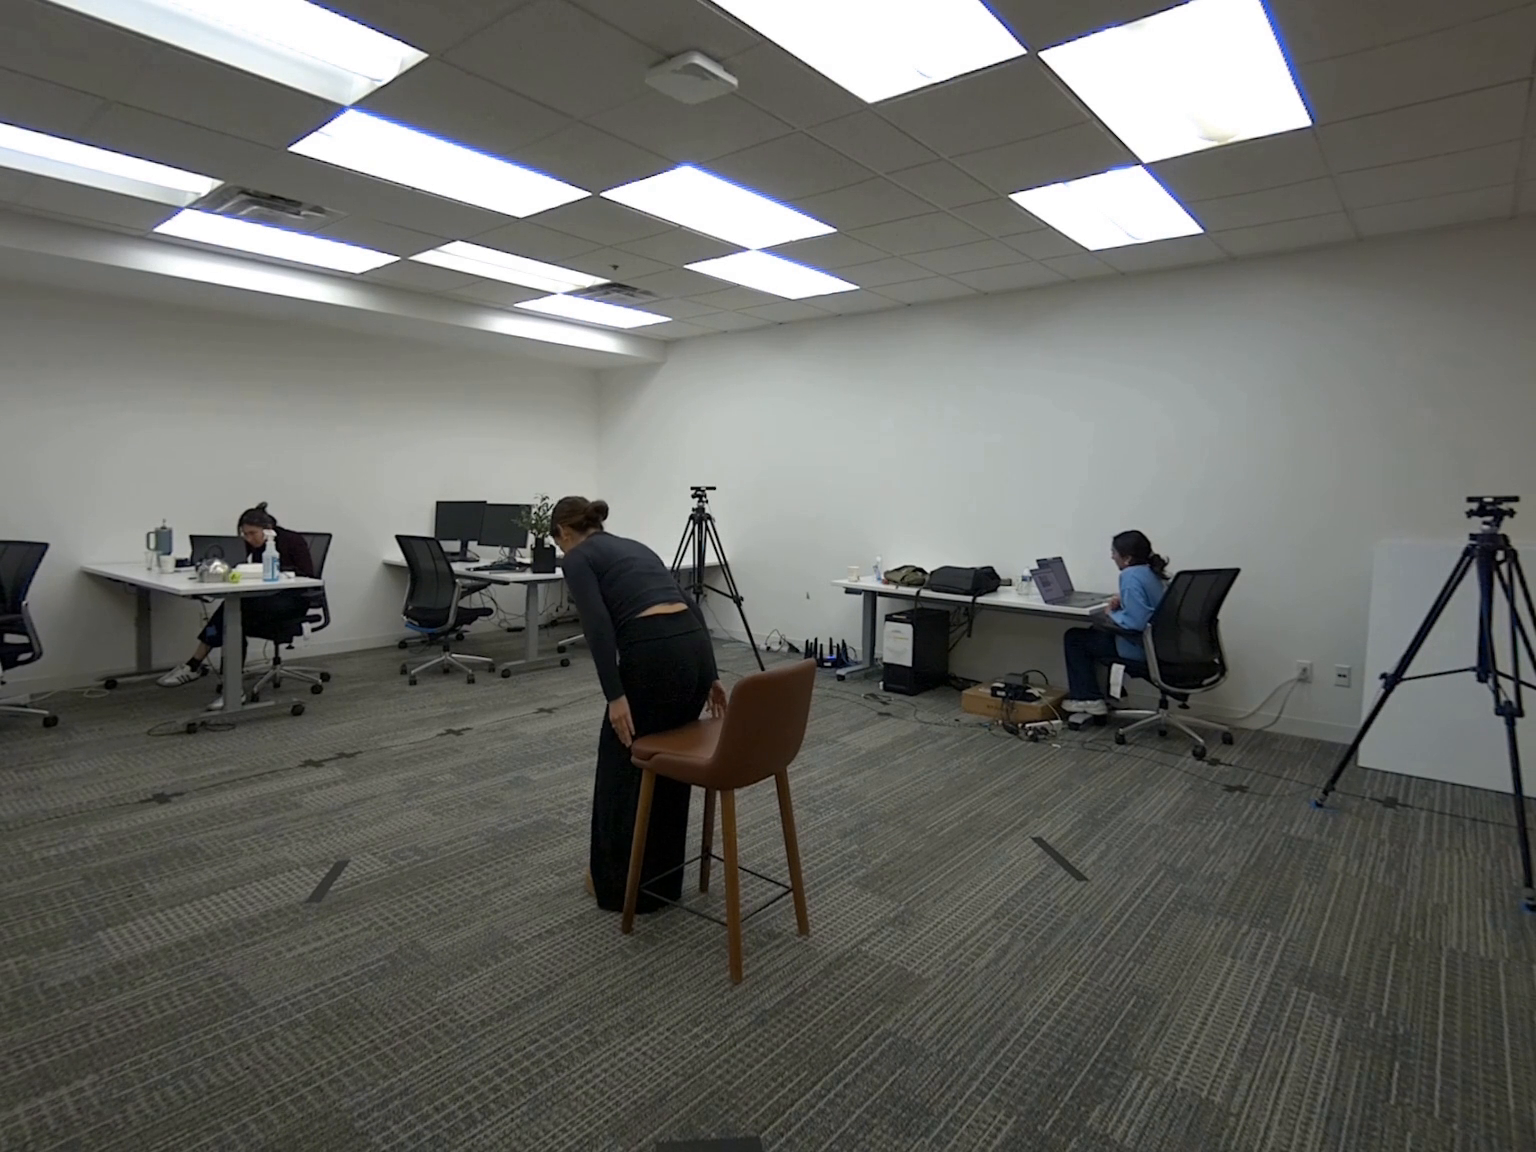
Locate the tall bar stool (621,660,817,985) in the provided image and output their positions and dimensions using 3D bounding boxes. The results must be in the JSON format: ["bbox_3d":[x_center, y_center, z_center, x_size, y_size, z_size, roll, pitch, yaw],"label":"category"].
[{"bbox_3d":[-0.154,0.676,2.630,0.483,0.886,0.443,5,5,37],"label":"tall bar stool"}]
